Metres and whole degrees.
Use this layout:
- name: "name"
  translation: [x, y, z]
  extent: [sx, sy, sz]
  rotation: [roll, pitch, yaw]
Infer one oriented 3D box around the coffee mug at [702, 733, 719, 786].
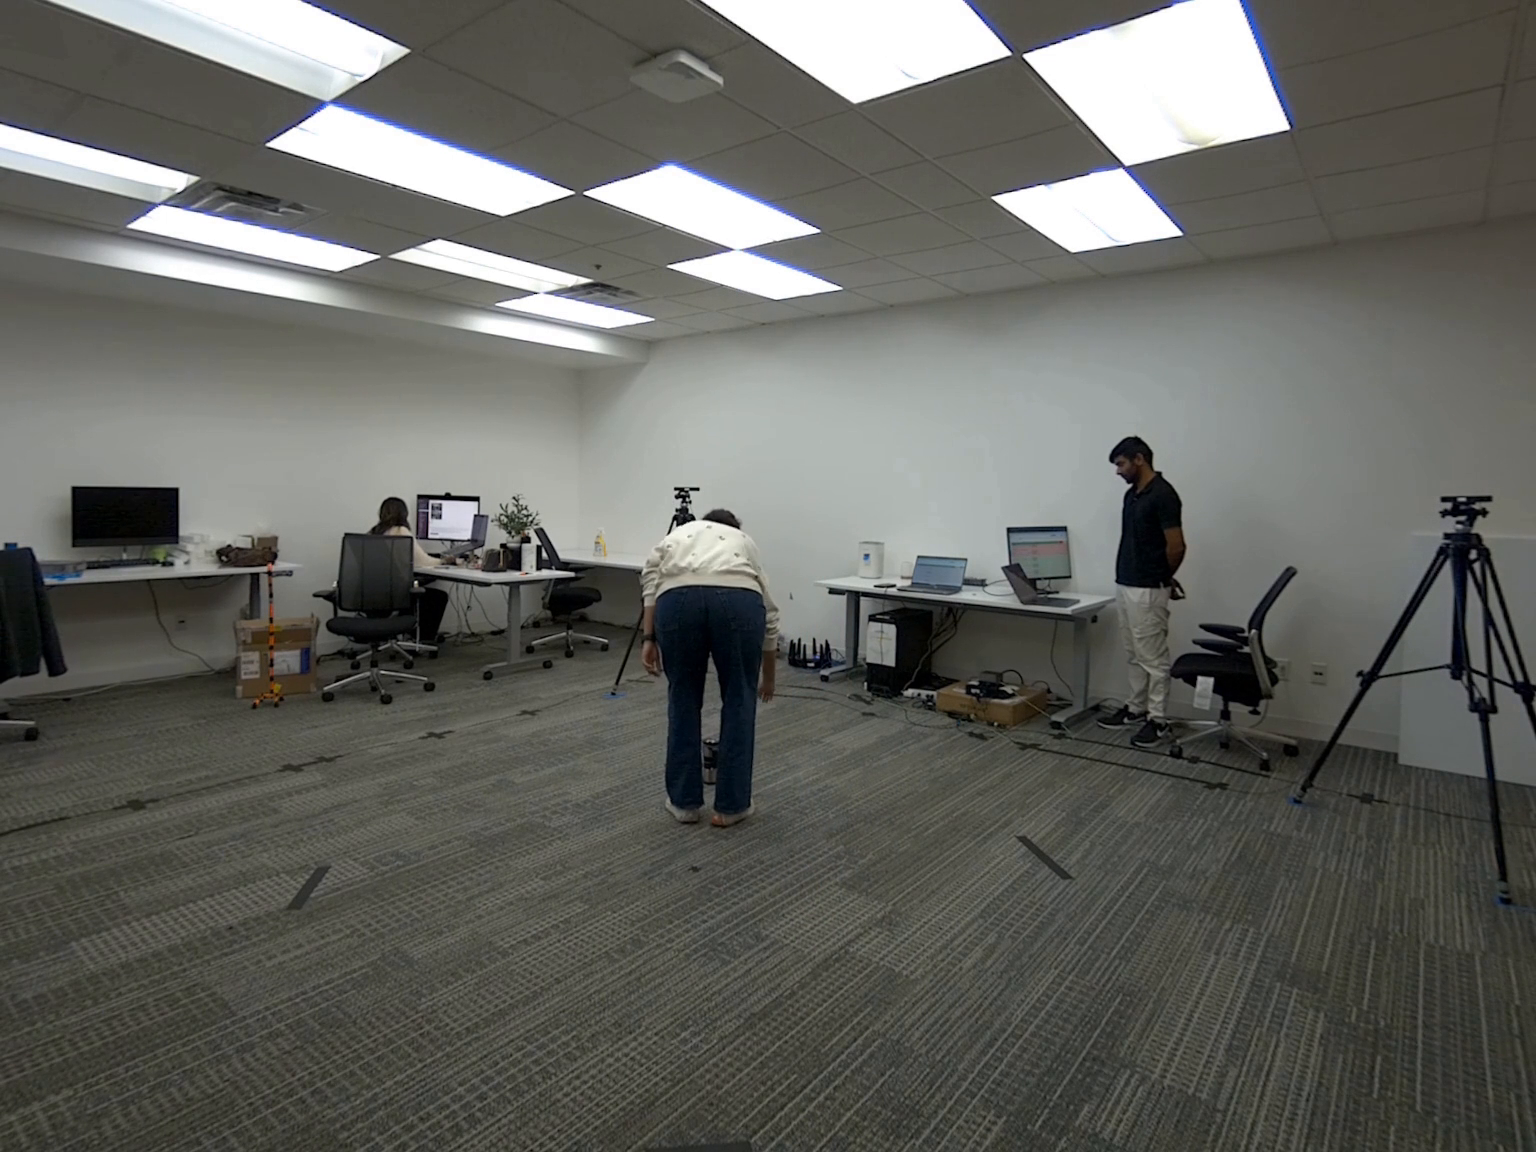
- name: "coffee mug"
  translation: [-0.285, 0.871, 4.010]
  extent: [0.091, 0.202, 0.118]
  rotation: [7, 3, 31]
